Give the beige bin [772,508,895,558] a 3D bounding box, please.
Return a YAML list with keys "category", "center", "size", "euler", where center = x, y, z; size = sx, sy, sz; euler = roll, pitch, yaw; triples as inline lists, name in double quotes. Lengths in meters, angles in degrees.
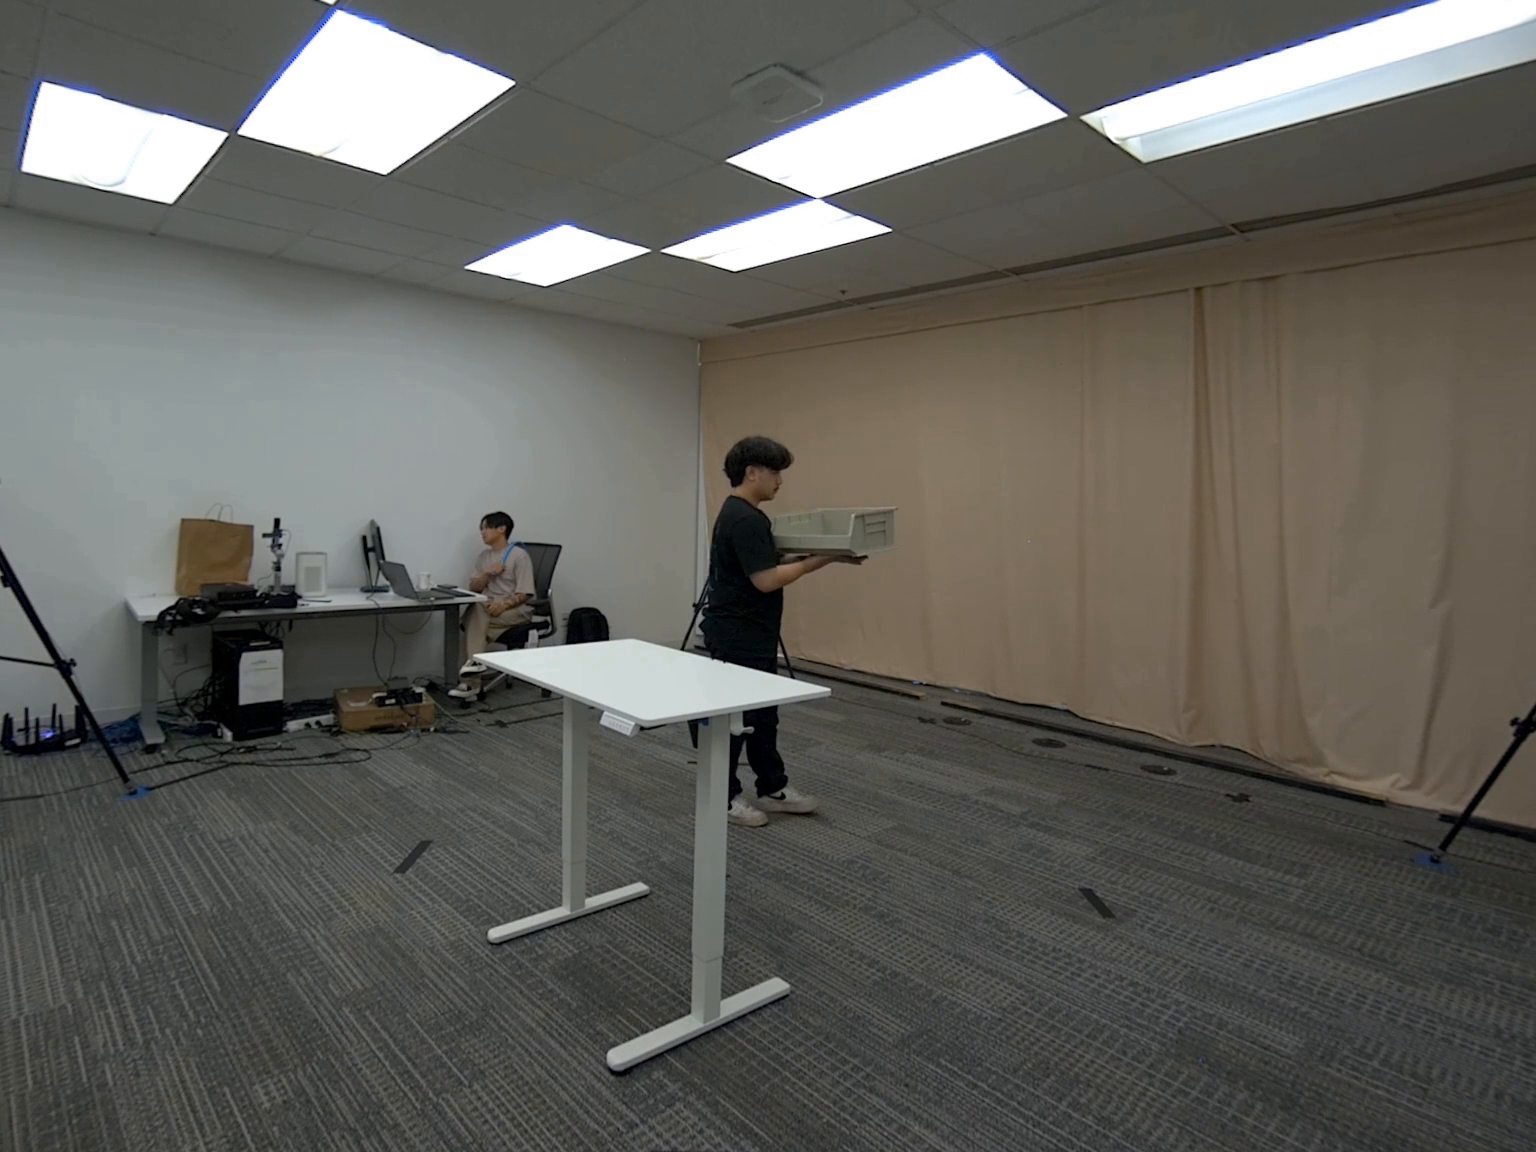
- category: "beige bin"
  center: [0.275, -0.194, 3.652]
  size: [0.432, 0.188, 0.370]
  euler: [2, 8, 40]
